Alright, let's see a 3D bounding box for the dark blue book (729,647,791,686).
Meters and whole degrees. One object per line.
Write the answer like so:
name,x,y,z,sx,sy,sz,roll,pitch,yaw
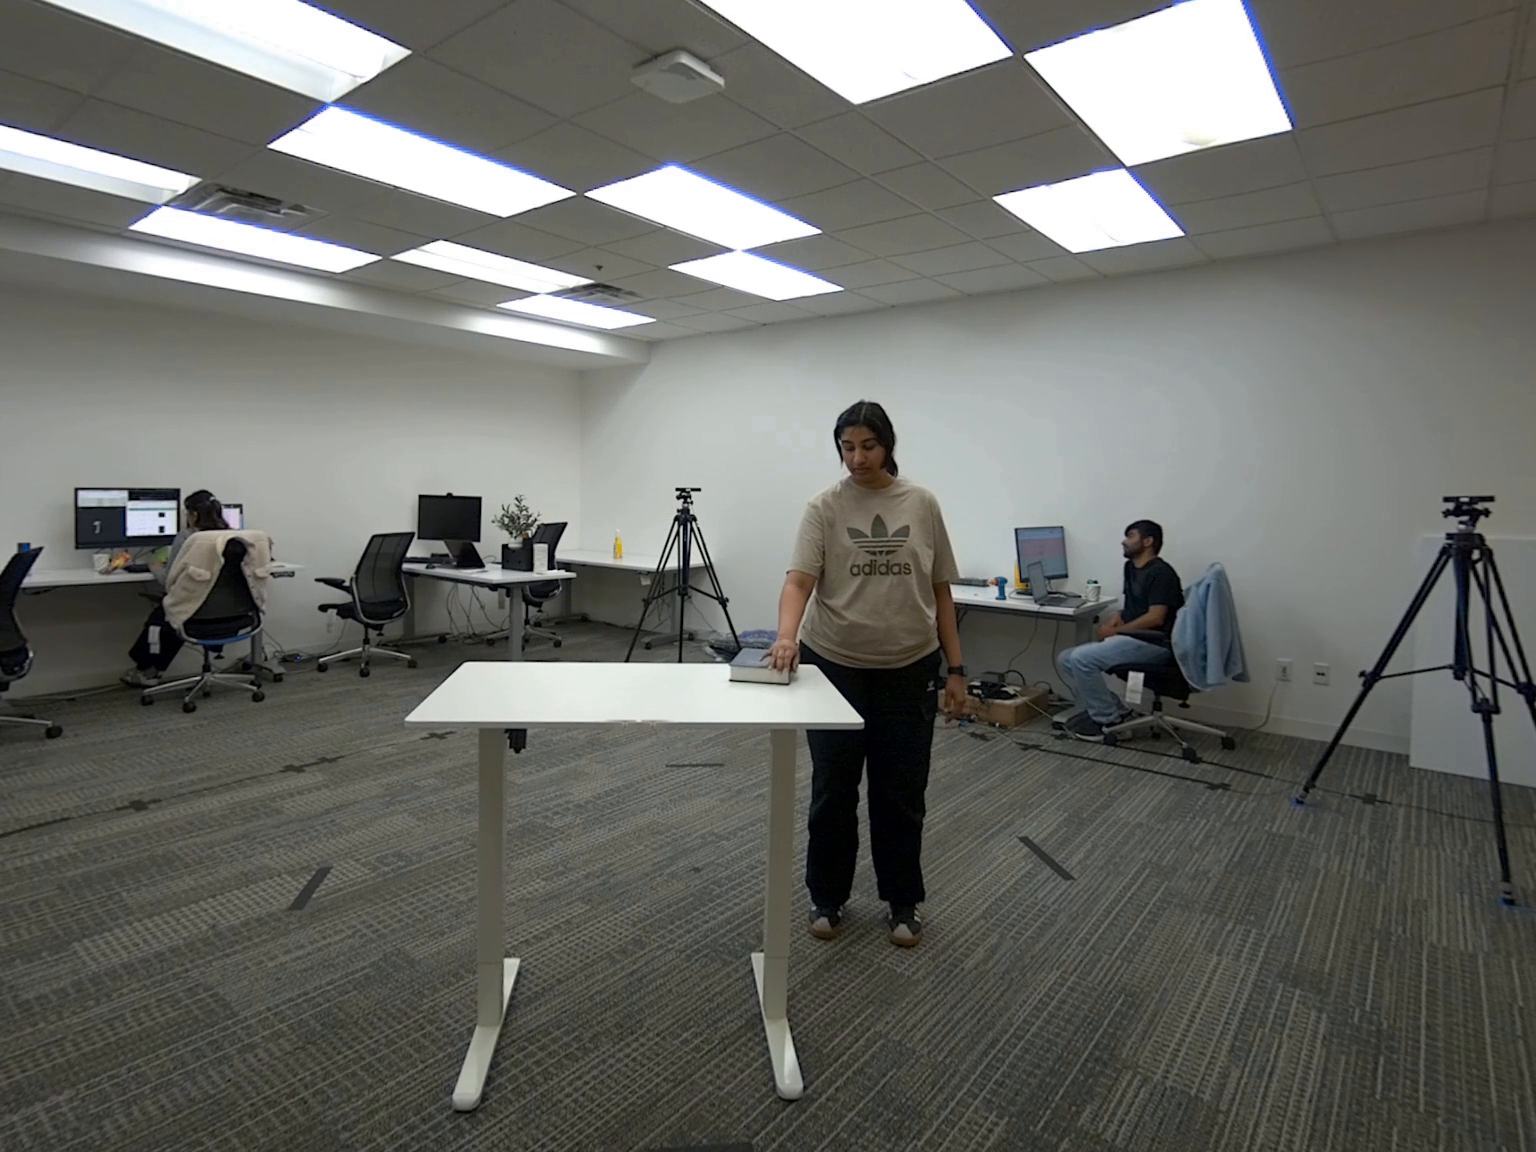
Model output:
dark blue book,-0.010,0.247,2.339,0.165,0.045,0.244,2,7,6
